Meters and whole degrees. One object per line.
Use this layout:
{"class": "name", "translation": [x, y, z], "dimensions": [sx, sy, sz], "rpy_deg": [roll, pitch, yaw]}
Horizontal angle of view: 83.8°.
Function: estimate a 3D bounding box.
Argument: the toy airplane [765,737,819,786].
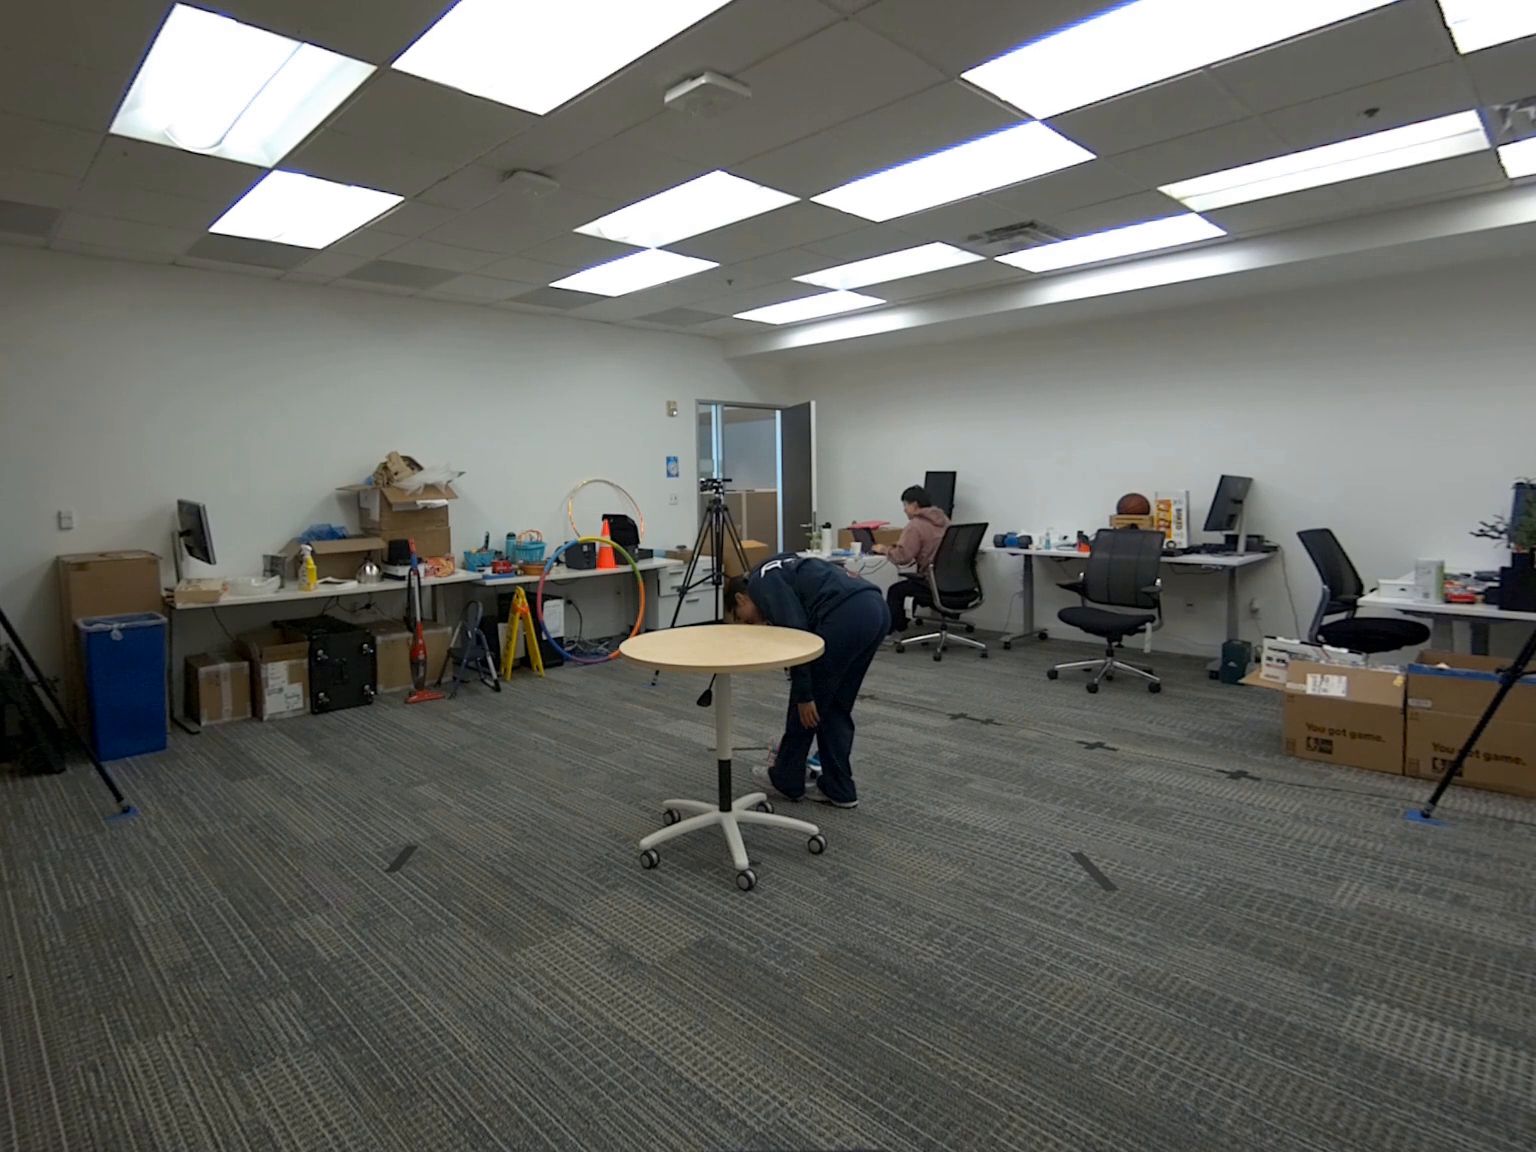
{"class": "toy airplane", "translation": [0.141, 0.868, 4.036], "dimensions": [0.256, 0.156, 0.255], "rpy_deg": [-3, 5, -12]}
